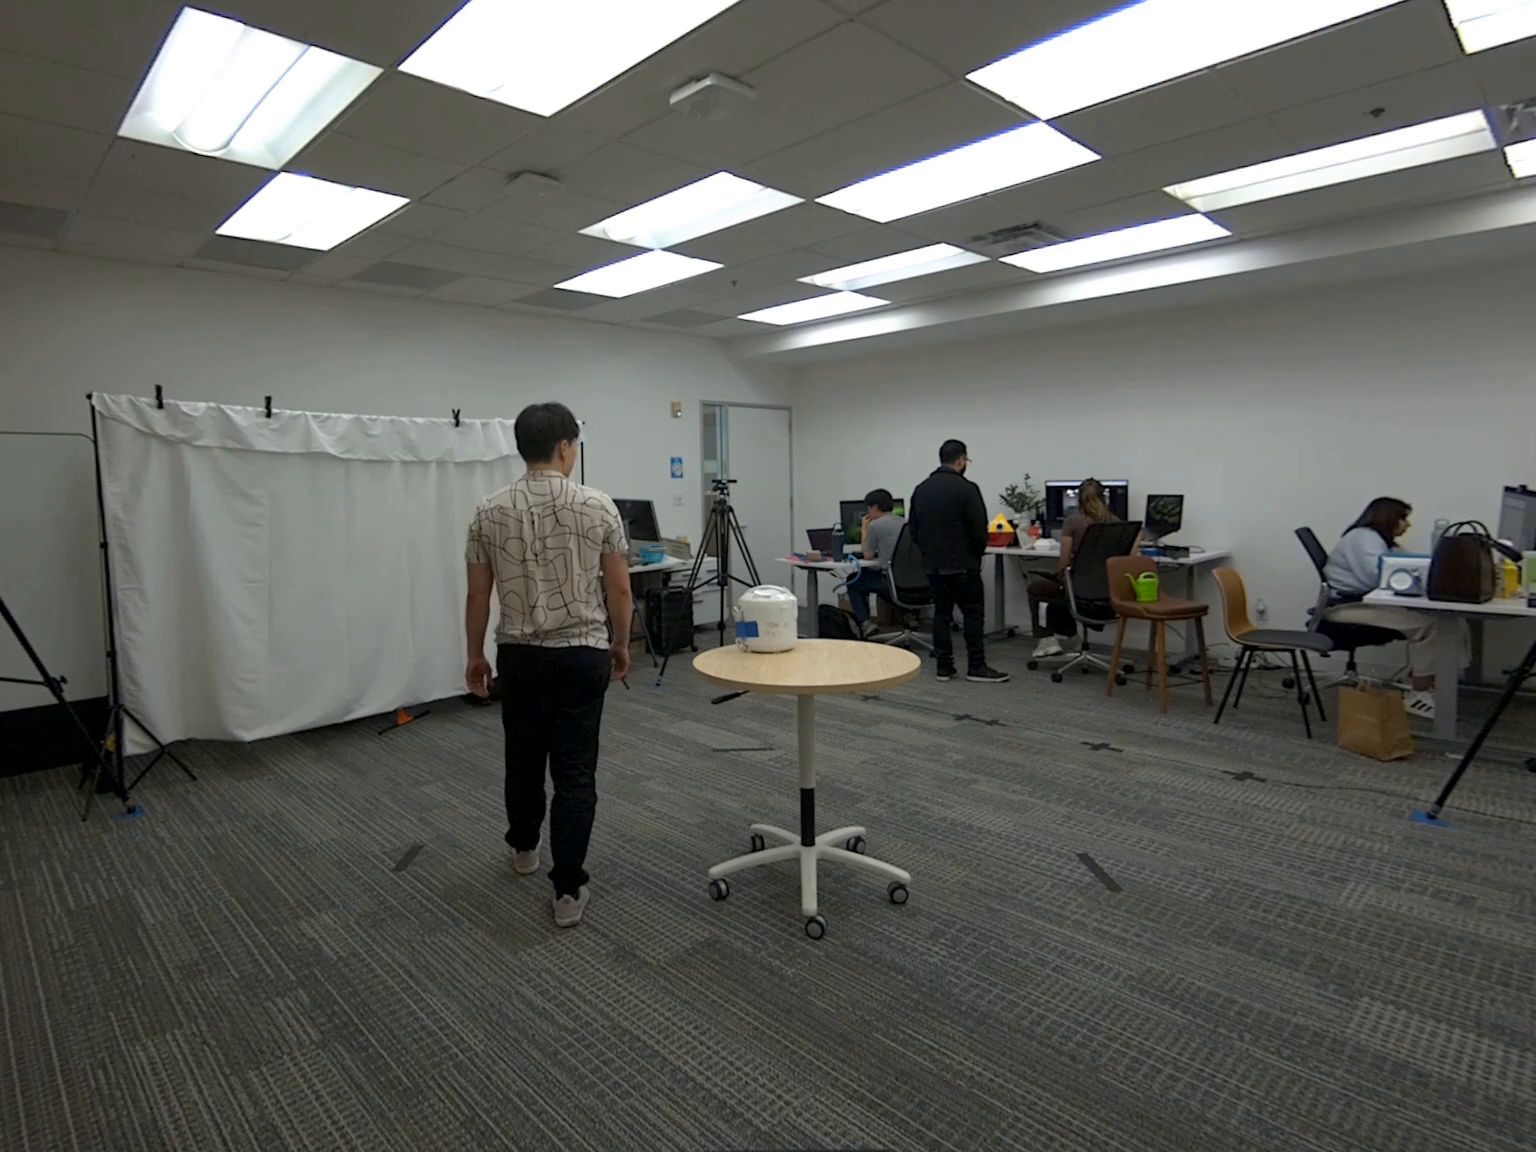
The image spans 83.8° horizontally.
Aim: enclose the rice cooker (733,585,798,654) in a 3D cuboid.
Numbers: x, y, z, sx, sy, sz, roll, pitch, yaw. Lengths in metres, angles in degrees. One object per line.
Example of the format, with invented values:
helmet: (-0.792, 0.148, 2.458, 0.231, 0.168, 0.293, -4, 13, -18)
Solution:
rice cooker: (-0.001, 0.149, 3.098, 0.225, 0.232, 0.214, 0, 6, 20)
